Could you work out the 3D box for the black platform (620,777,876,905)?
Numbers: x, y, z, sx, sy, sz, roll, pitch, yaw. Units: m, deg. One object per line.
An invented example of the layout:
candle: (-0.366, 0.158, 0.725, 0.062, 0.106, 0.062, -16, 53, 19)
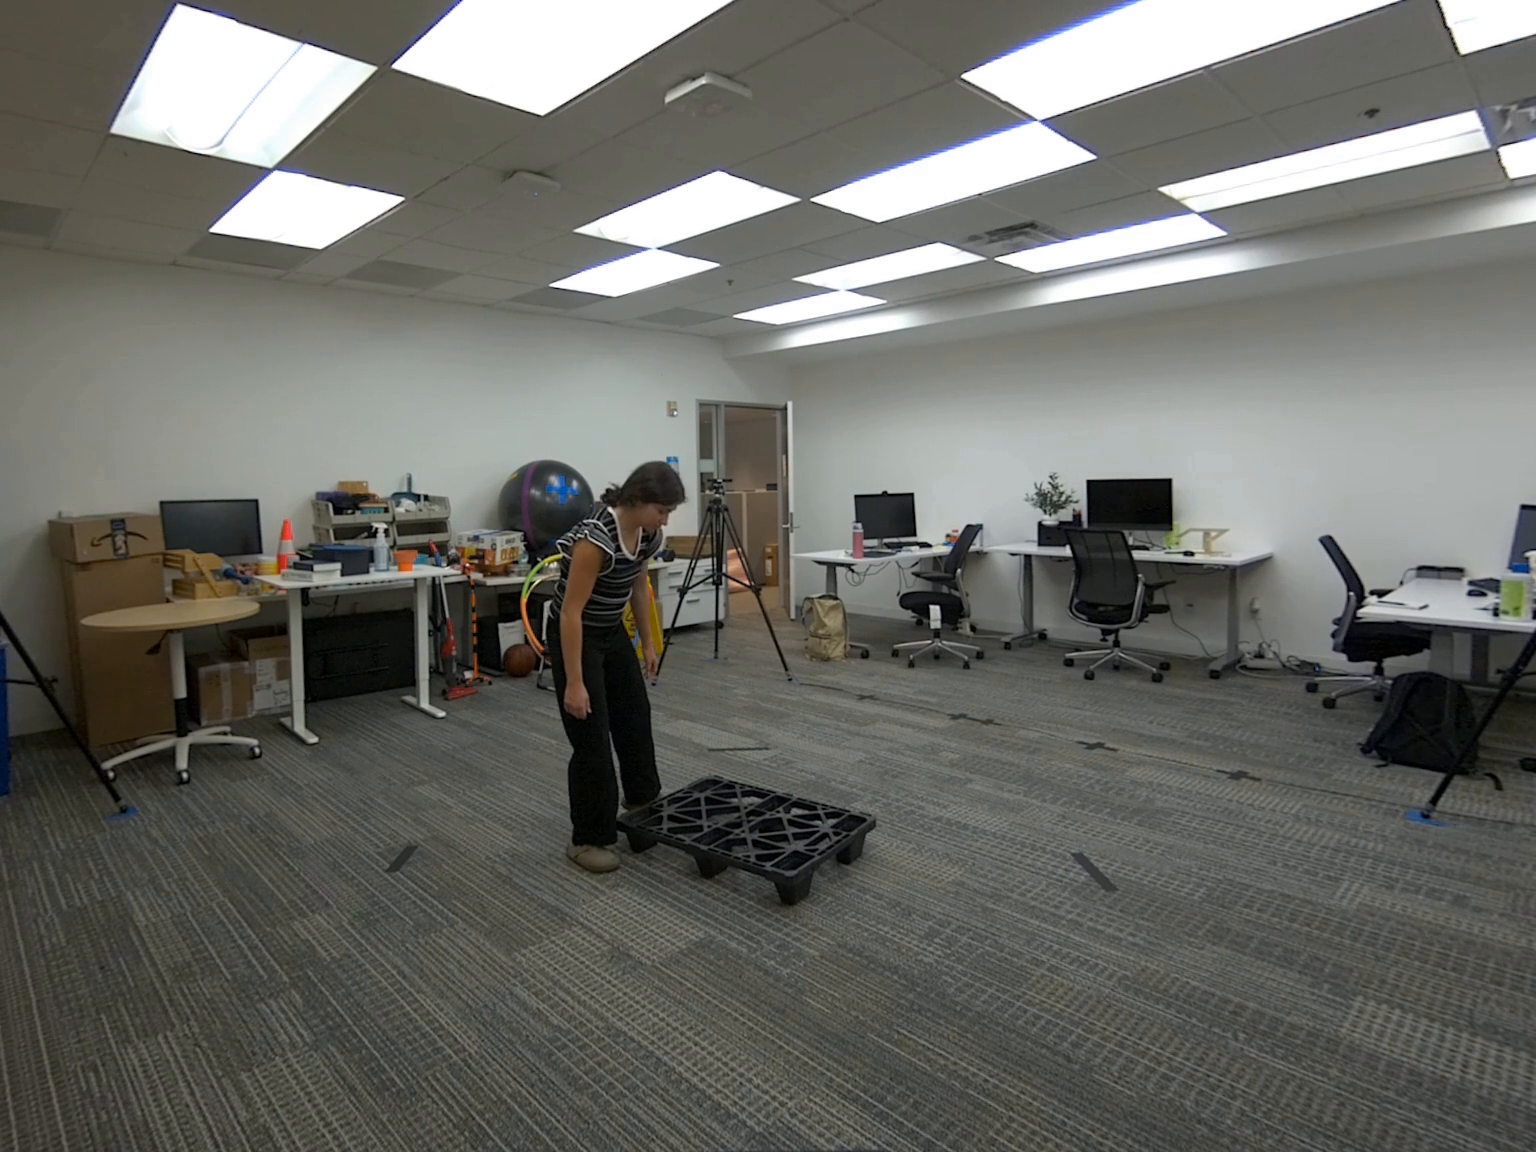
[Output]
black platform: (-0.085, 0.968, 3.195, 0.829, 0.143, 0.590, 4, 7, 36)
